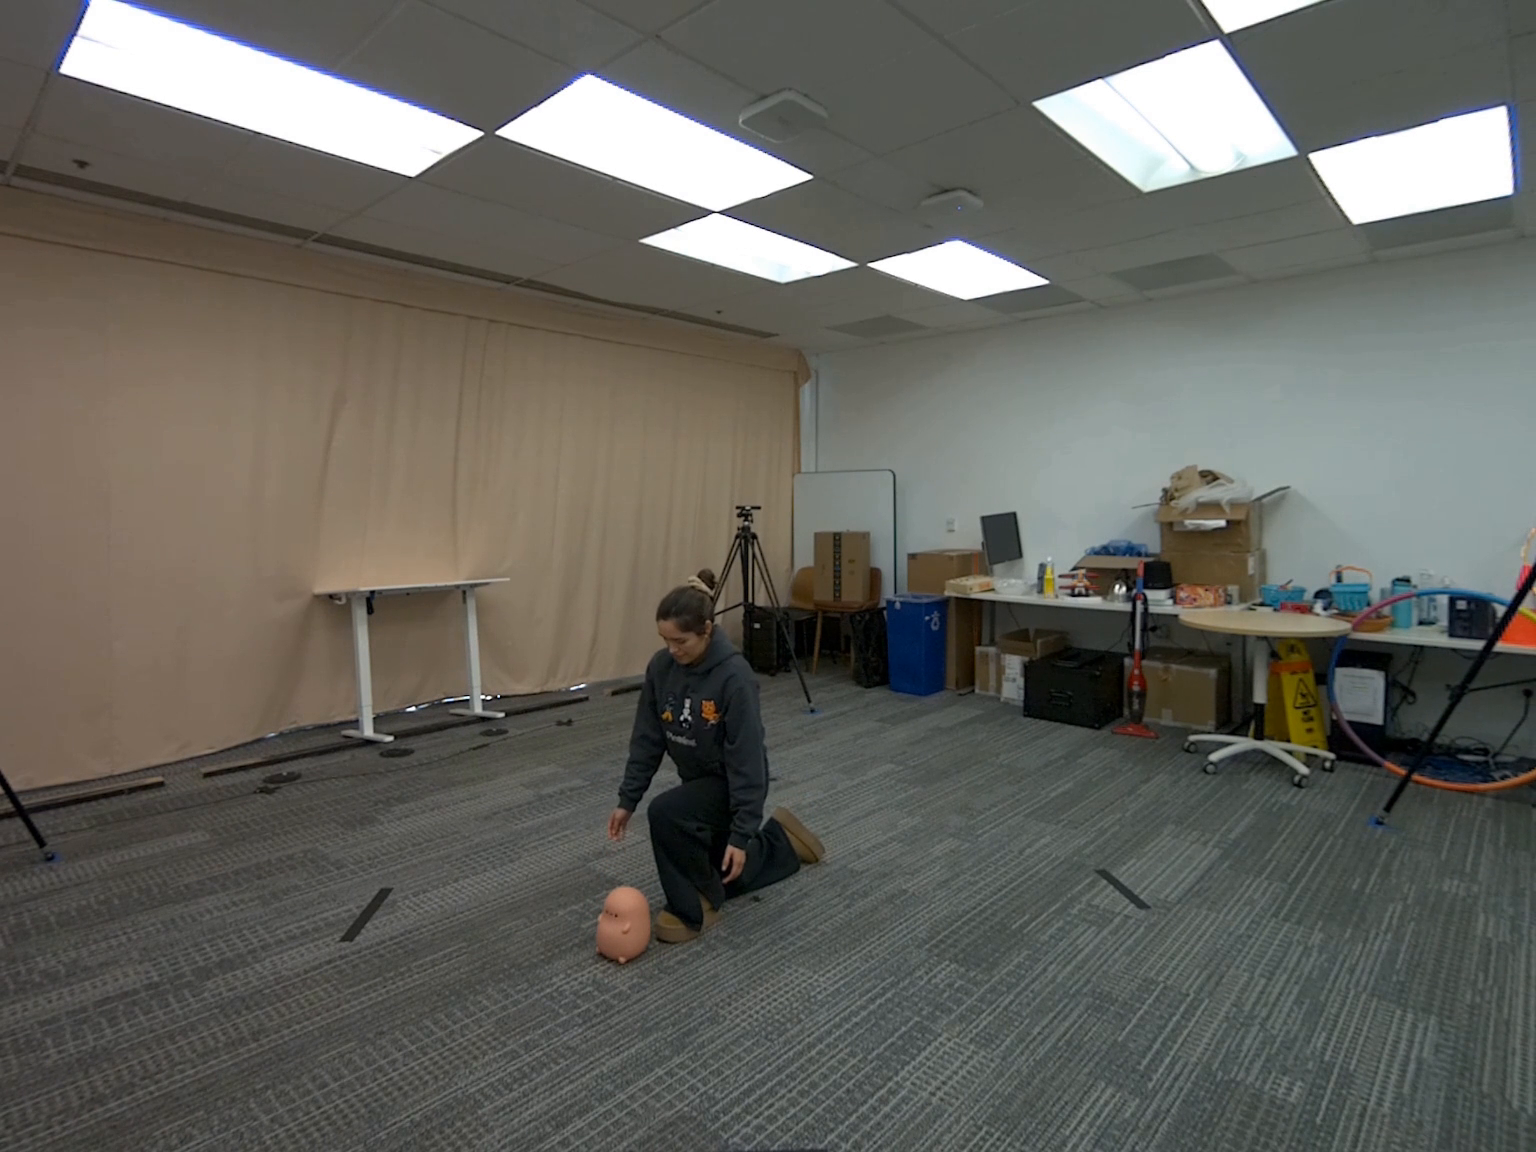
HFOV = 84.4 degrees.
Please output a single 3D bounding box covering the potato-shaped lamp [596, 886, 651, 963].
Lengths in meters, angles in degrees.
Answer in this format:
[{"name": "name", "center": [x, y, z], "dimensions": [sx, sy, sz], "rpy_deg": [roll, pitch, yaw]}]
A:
[{"name": "potato-shaped lamp", "center": [-0.429, 1.080, 2.633], "dimensions": [0.170, 0.198, 0.166], "rpy_deg": [3, 4, 36]}]
